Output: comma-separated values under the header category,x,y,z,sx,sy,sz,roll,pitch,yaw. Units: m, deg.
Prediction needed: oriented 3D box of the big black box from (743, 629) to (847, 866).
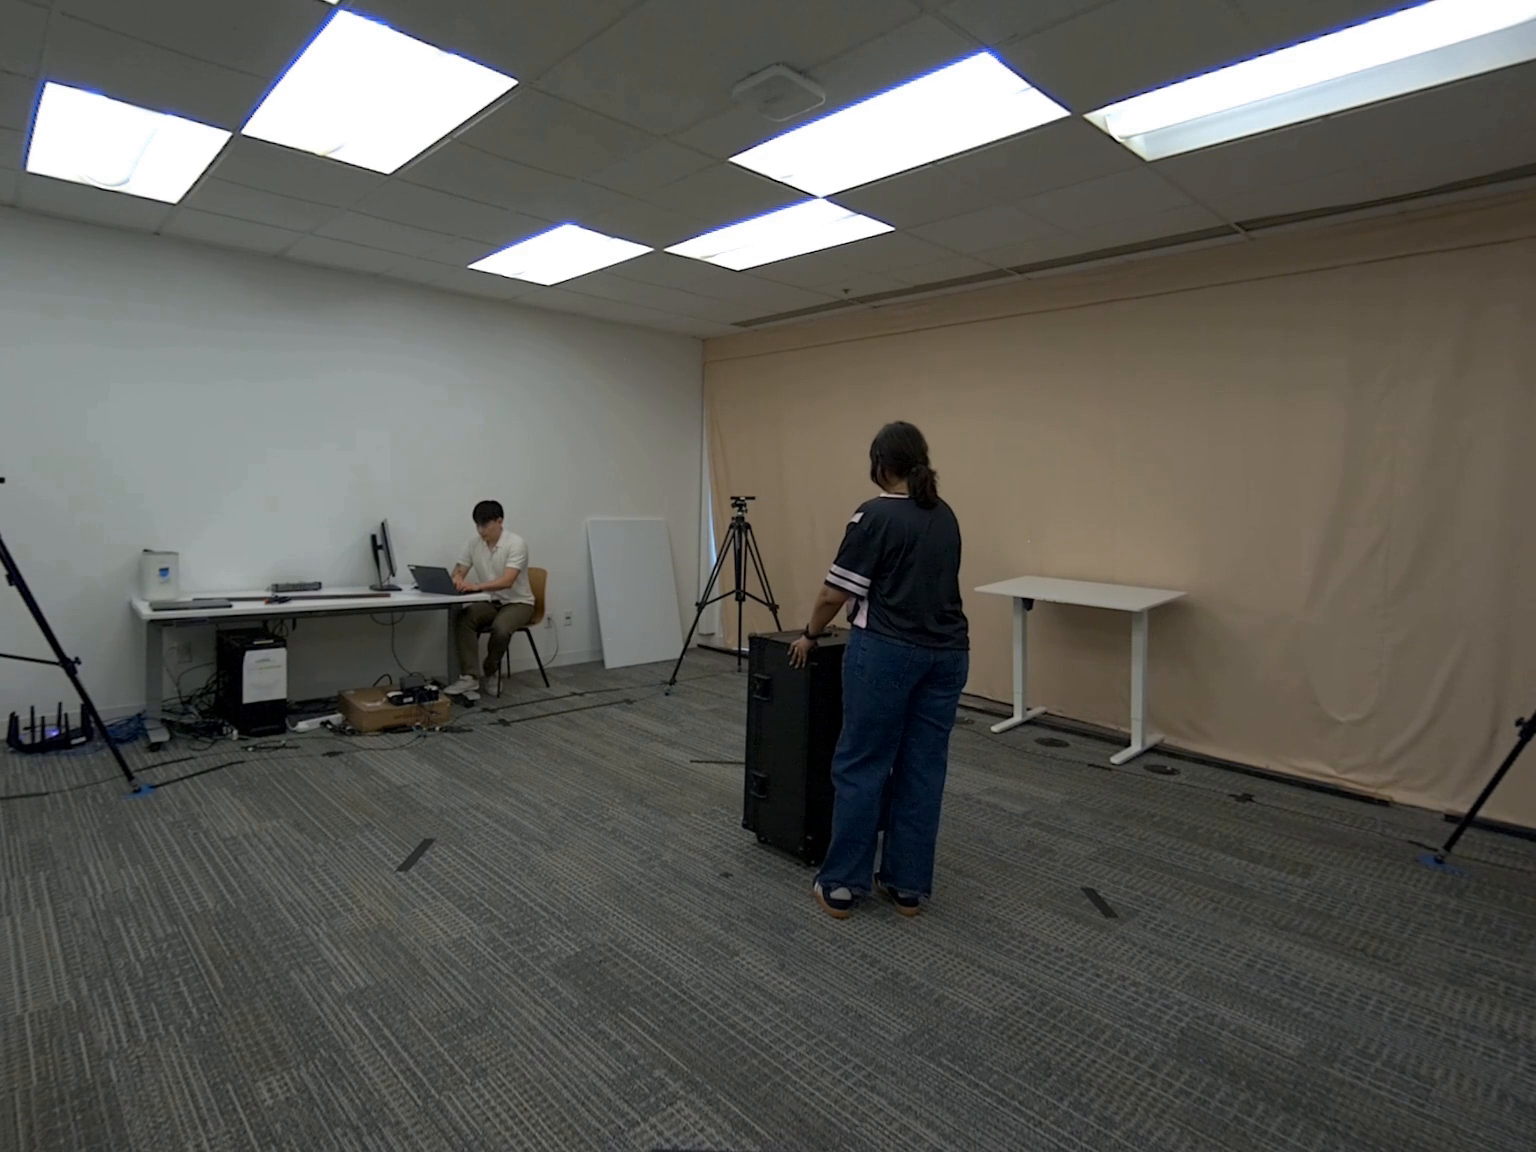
category,x,y,z,sx,sy,sz,roll,pitch,yaw
big black box,0.209,0.665,3.377,0.511,0.866,0.395,-2,5,-40
